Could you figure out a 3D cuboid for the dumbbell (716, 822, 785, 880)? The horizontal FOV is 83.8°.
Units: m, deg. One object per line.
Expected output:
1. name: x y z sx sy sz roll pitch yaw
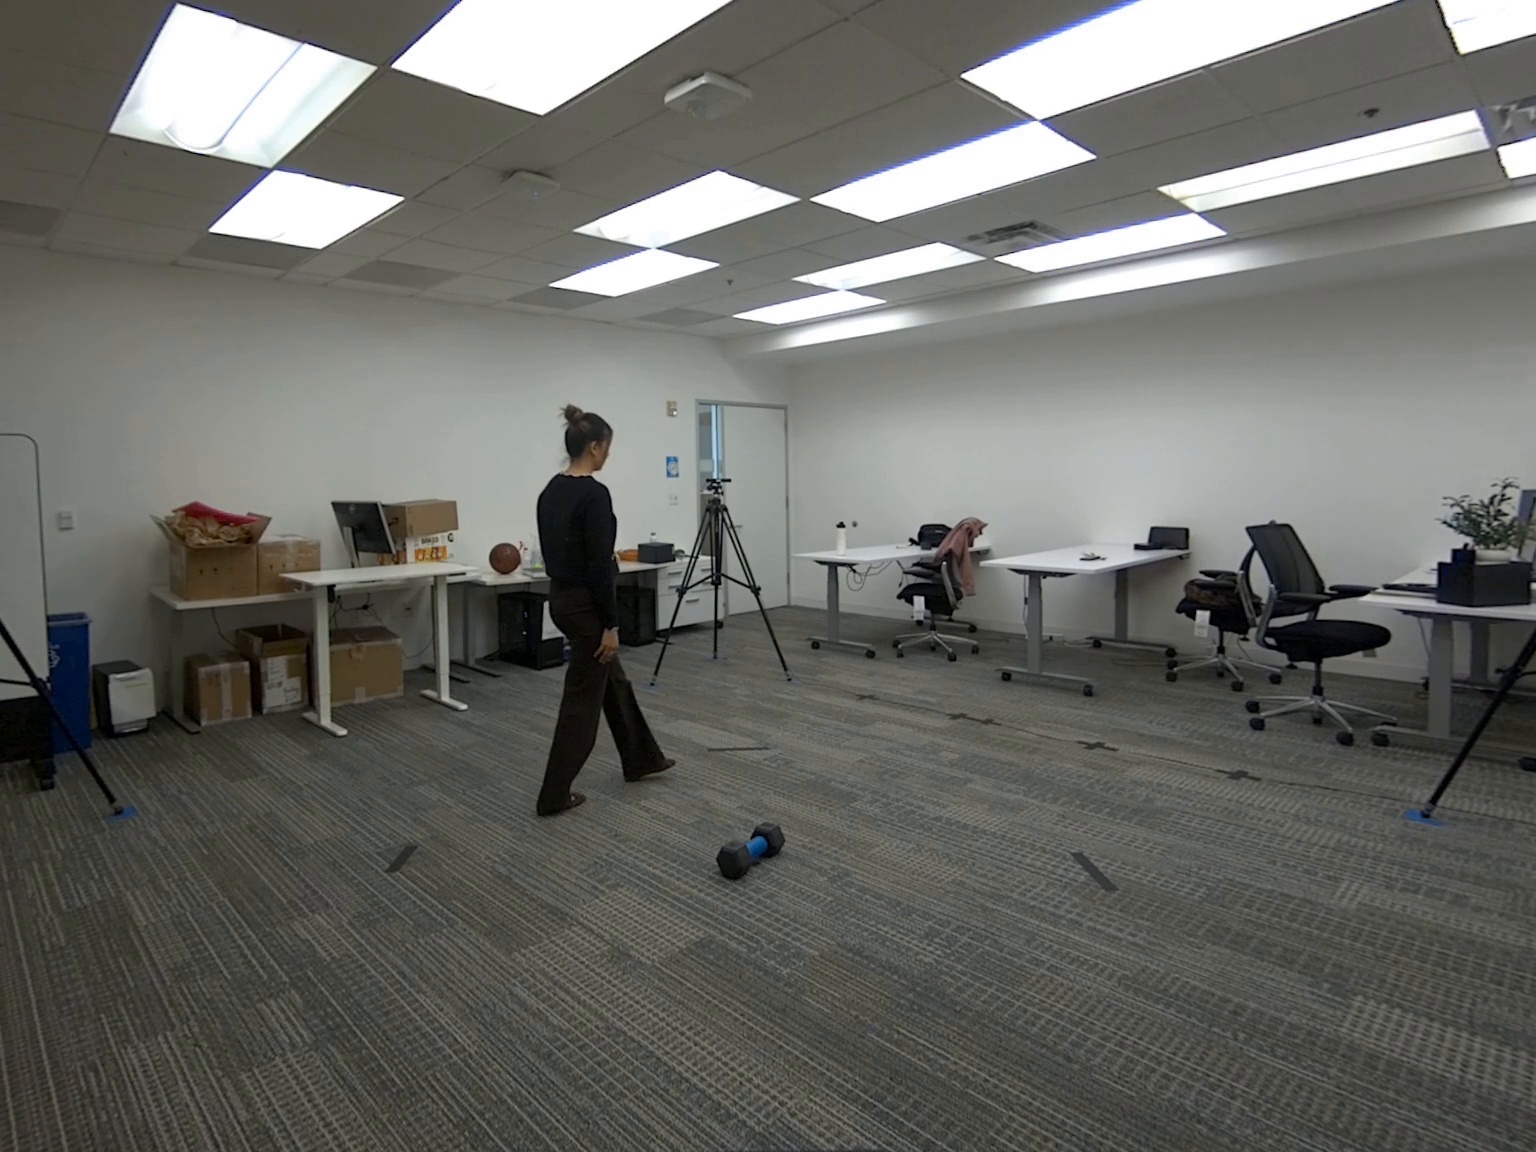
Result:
1. dumbbell: -0.053 0.991 3.097 0.112 0.122 0.286 35 24 27
